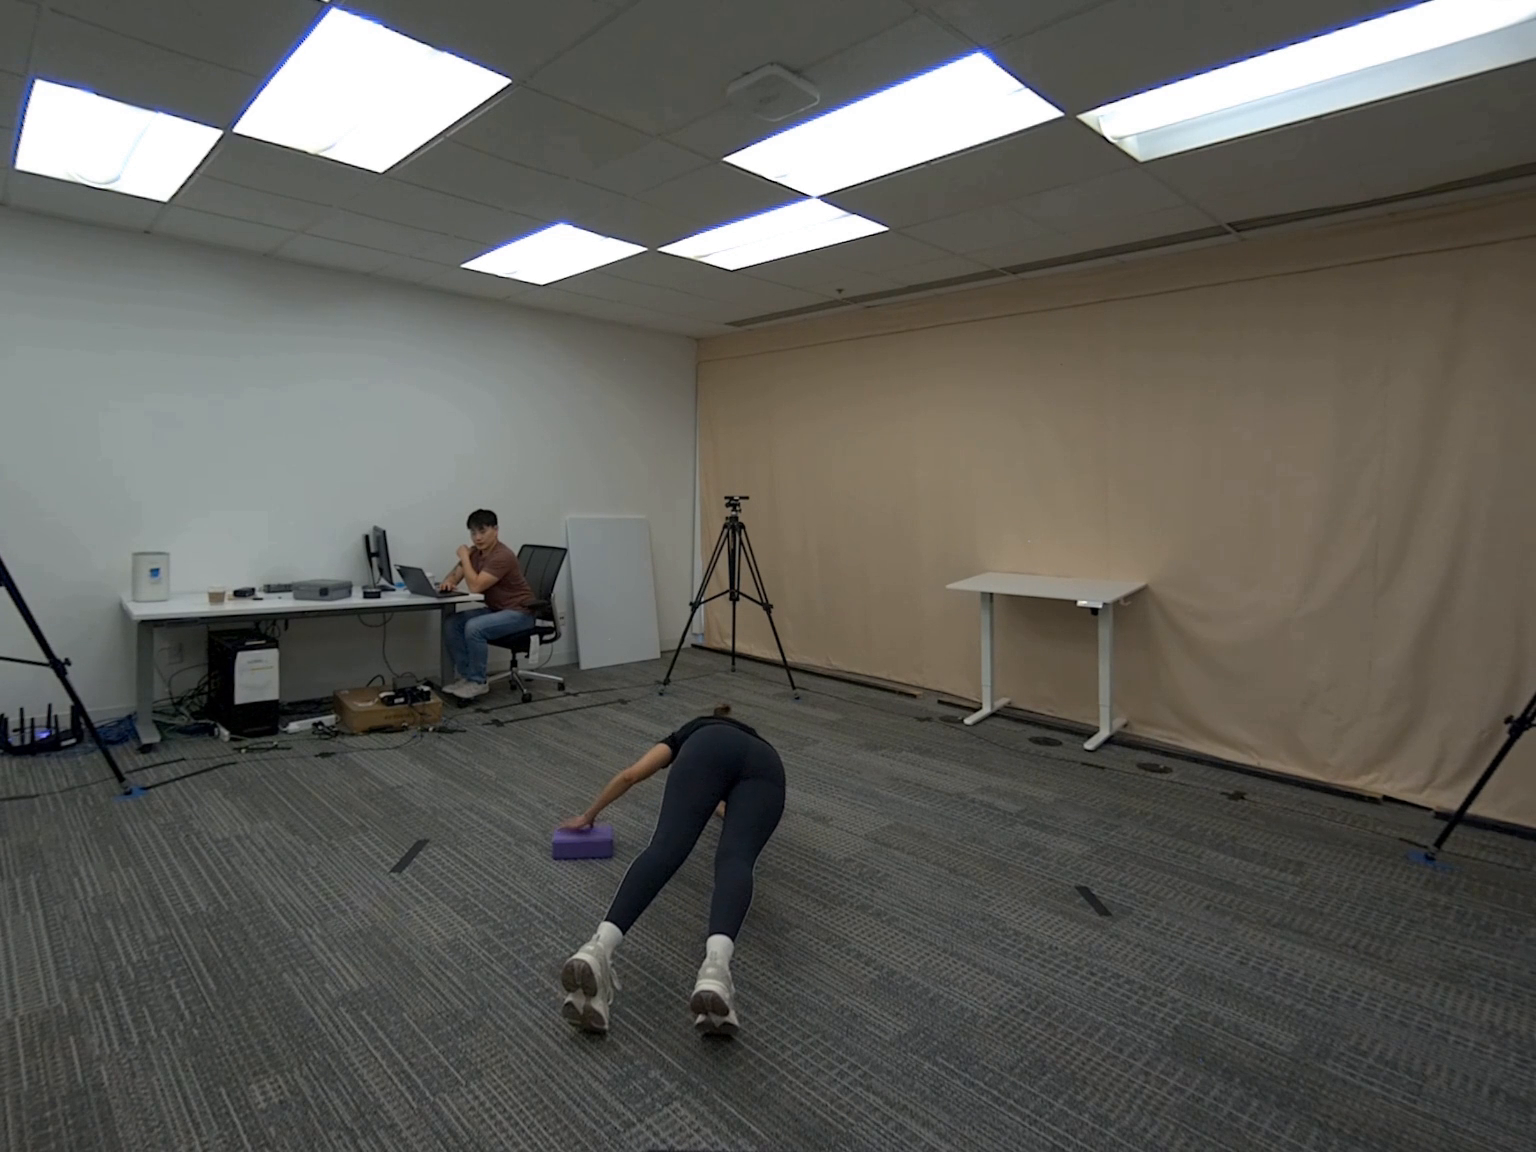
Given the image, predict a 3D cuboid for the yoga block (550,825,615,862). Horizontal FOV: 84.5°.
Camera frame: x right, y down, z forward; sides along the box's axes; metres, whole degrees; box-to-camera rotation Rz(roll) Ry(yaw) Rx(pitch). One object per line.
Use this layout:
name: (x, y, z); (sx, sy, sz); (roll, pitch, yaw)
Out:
yoga block: (-0.726, 1.031, 3.277); (0.228, 0.076, 0.150); (0, 6, -9)
